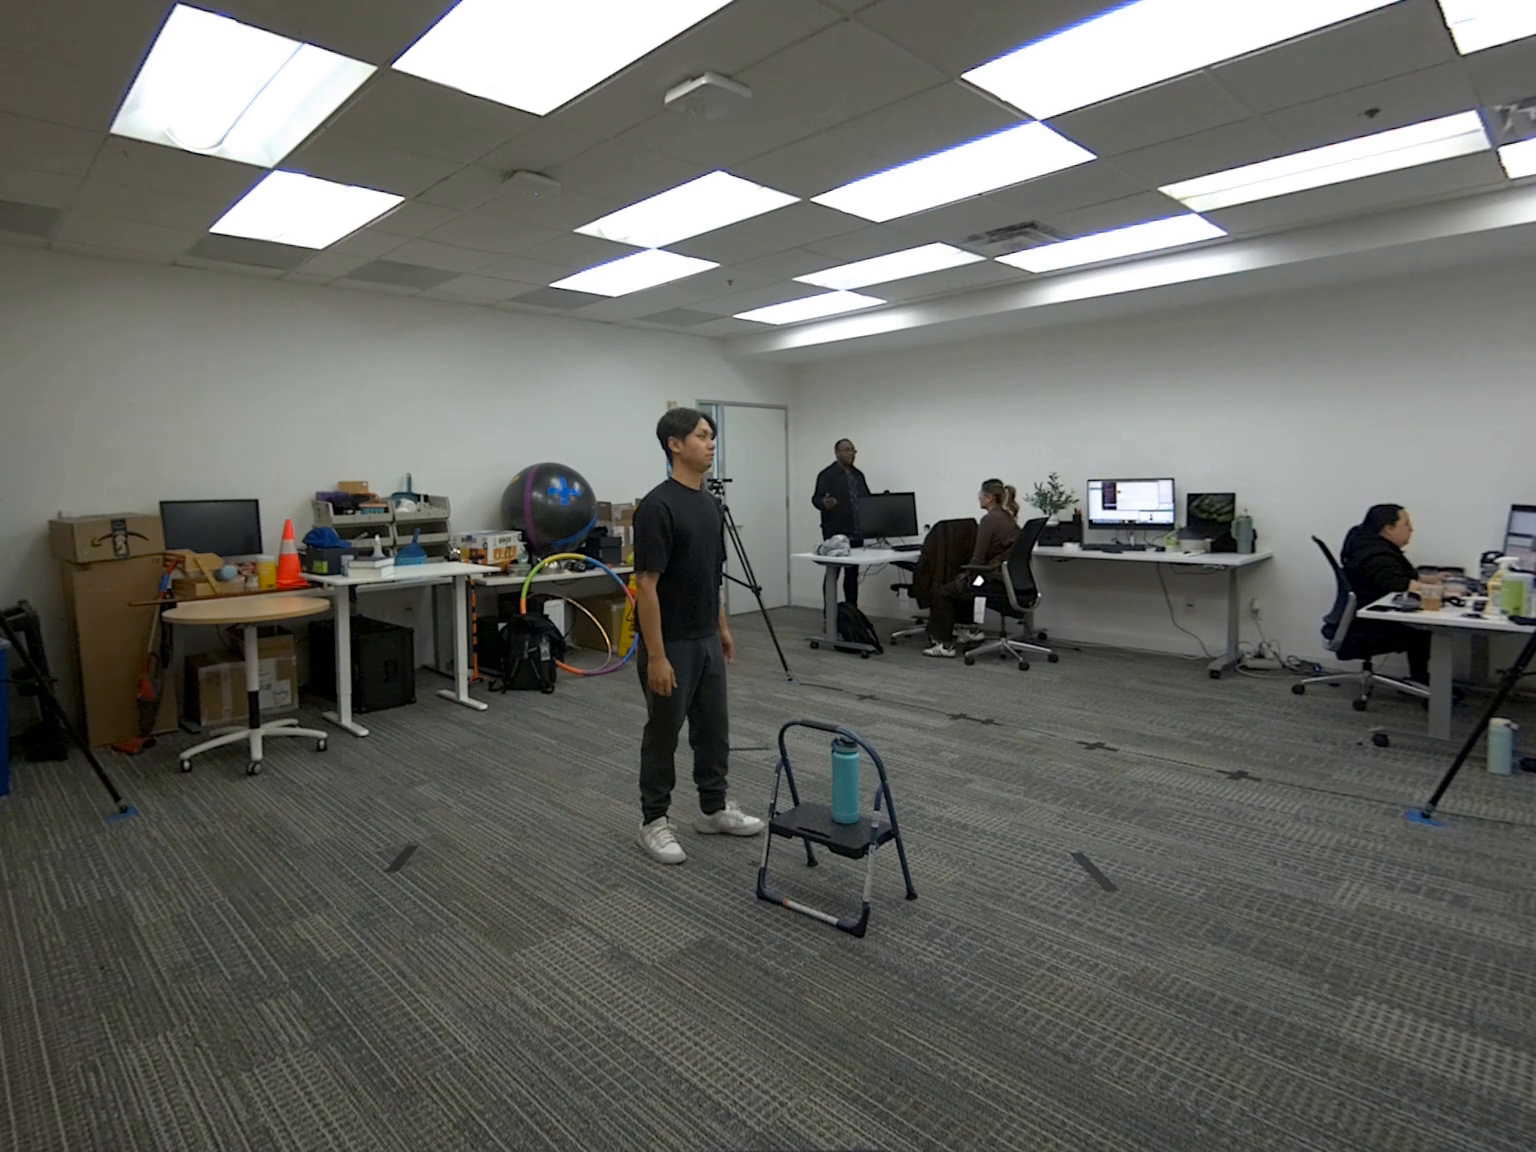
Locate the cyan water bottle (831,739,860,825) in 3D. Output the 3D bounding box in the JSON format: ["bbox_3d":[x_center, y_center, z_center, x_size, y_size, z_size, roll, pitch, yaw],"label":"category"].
[{"bbox_3d":[0.265,0.673,2.832,0.092,0.282,0.093,1,4,-2],"label":"cyan water bottle"}]
